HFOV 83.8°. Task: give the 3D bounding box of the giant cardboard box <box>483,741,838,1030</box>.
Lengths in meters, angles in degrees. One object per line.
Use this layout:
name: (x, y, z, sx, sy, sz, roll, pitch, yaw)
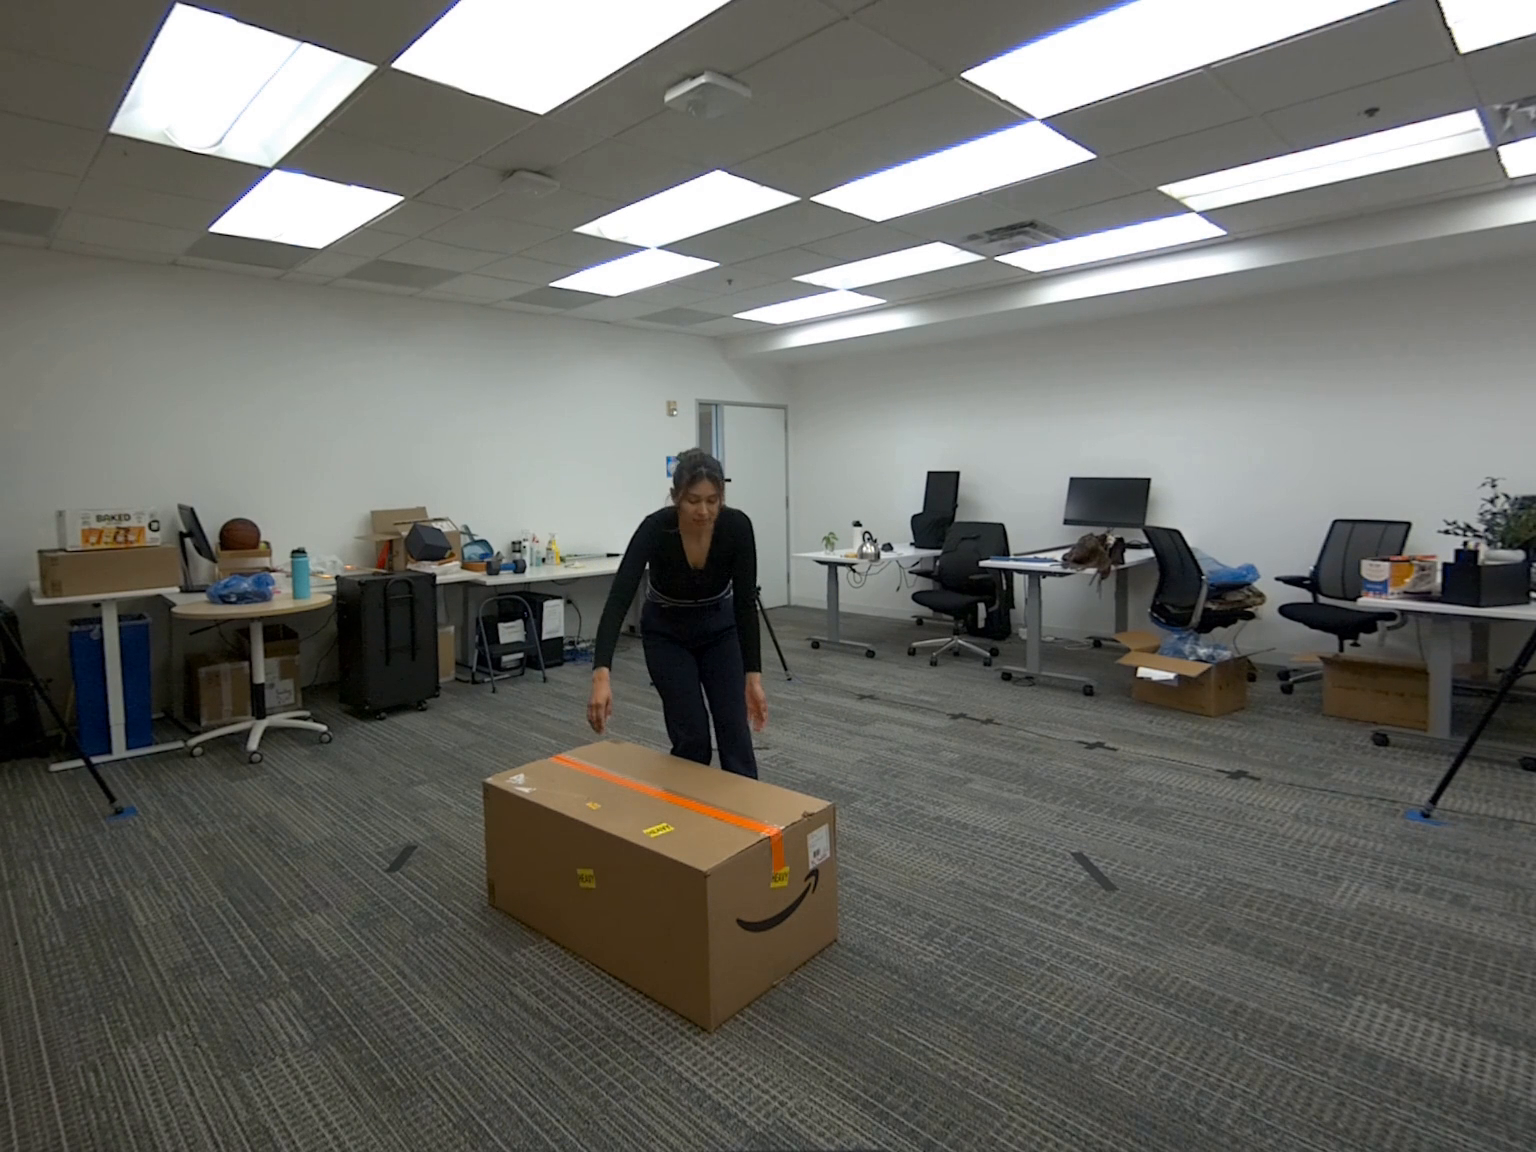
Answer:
giant cardboard box: (-0.363, 0.882, 2.701, 1.057, 0.424, 0.563, 4, 9, 41)
